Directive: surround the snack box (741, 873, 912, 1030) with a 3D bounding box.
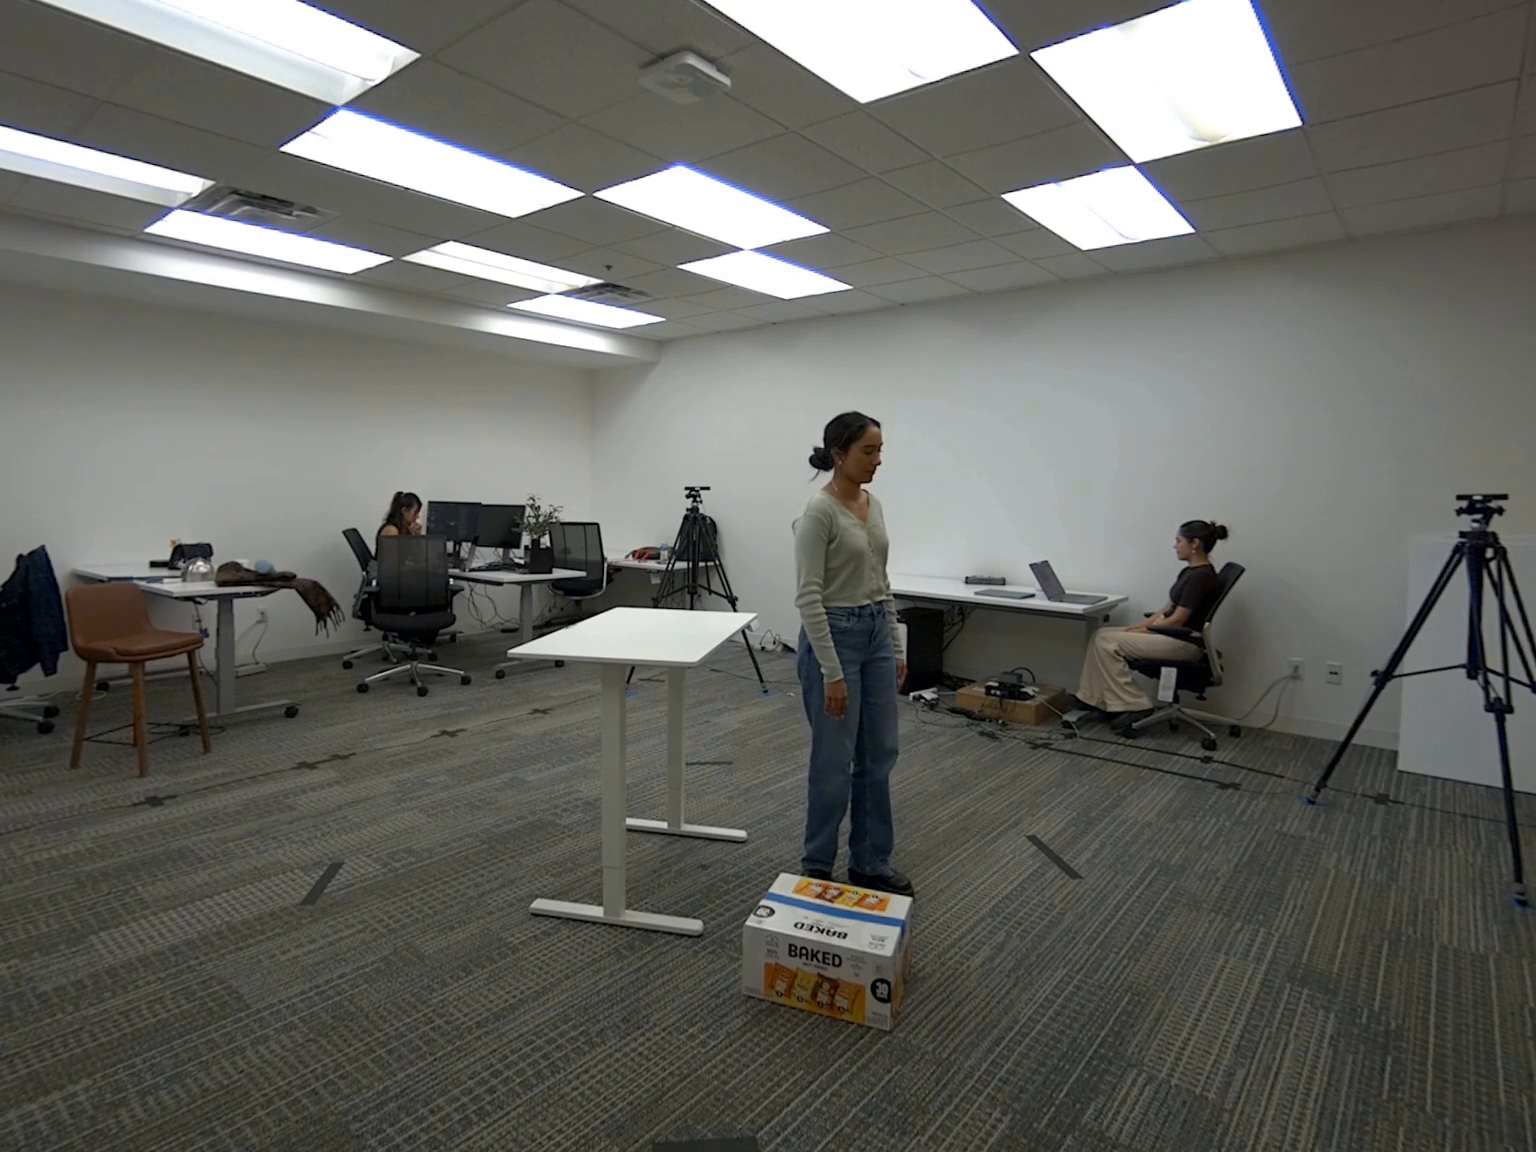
[{"bbox_3d":[0.170,1.041,2.400,0.414,0.205,0.334,3,5,20],"label":"snack box"}]
